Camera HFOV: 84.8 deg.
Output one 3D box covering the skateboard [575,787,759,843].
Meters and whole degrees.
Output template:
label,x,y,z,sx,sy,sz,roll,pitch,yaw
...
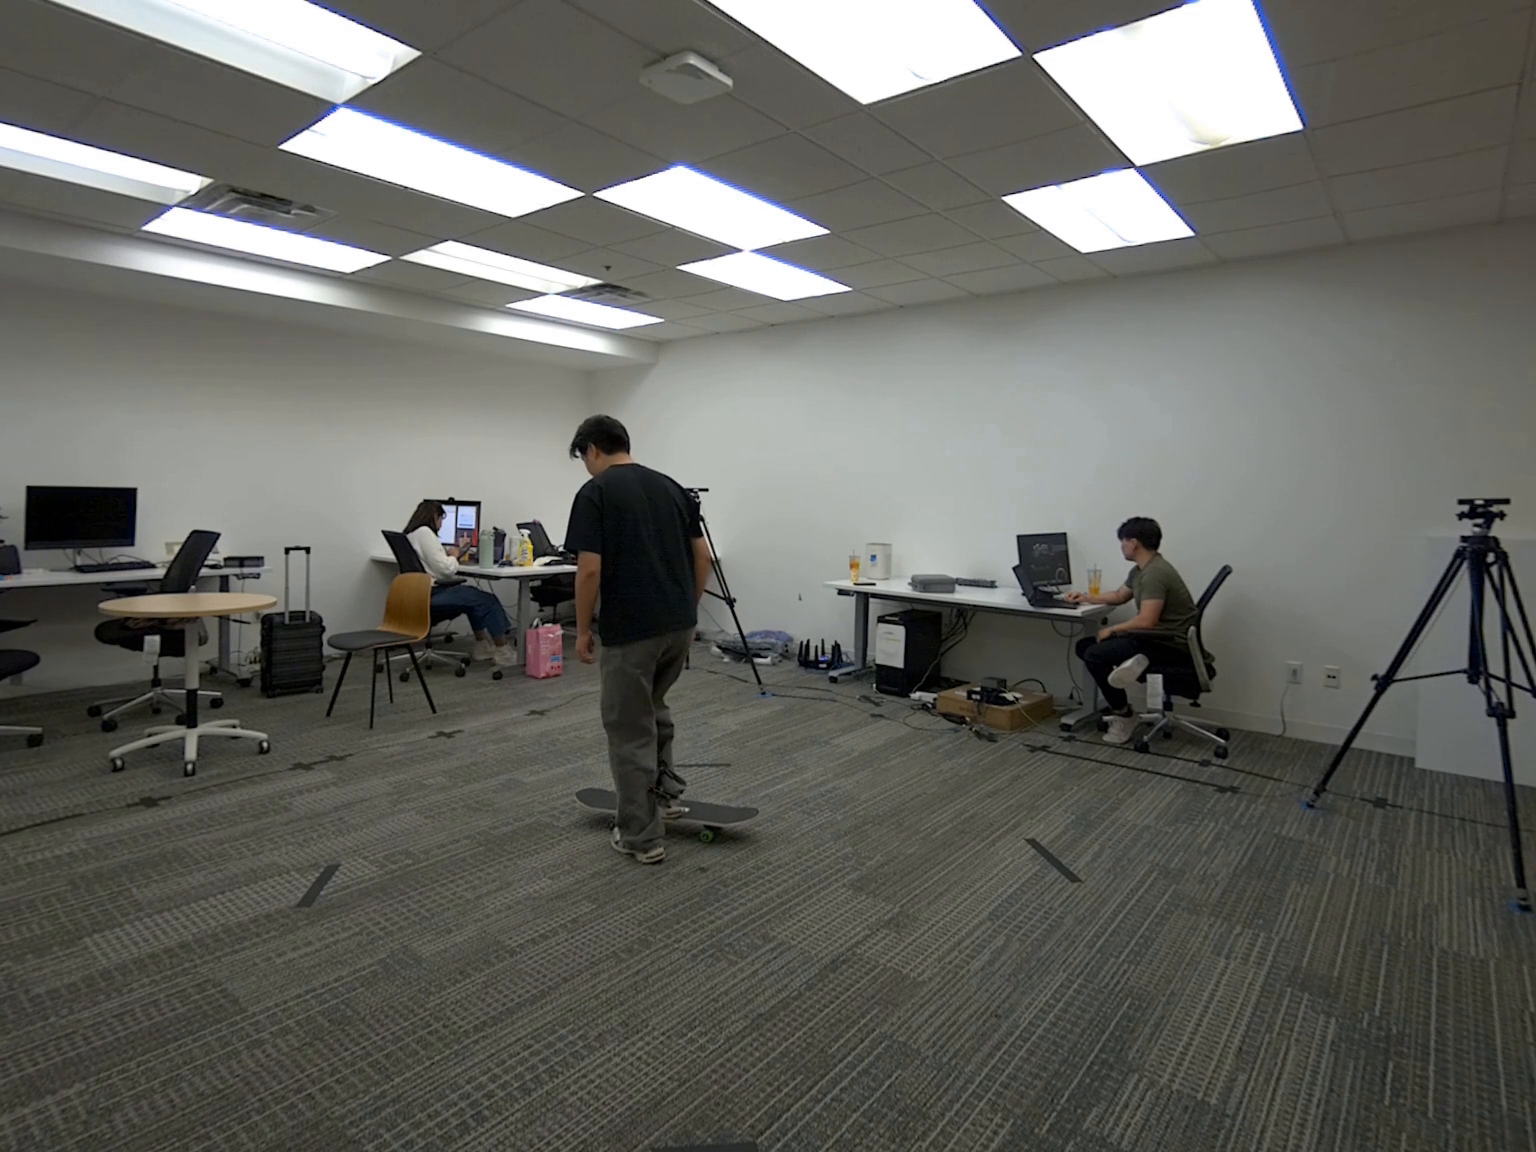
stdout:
label,x,y,z,sx,sy,sz,roll,pitch,yaw
skateboard,-0.438,0.974,3.482,0.797,0.110,0.191,3,6,14
